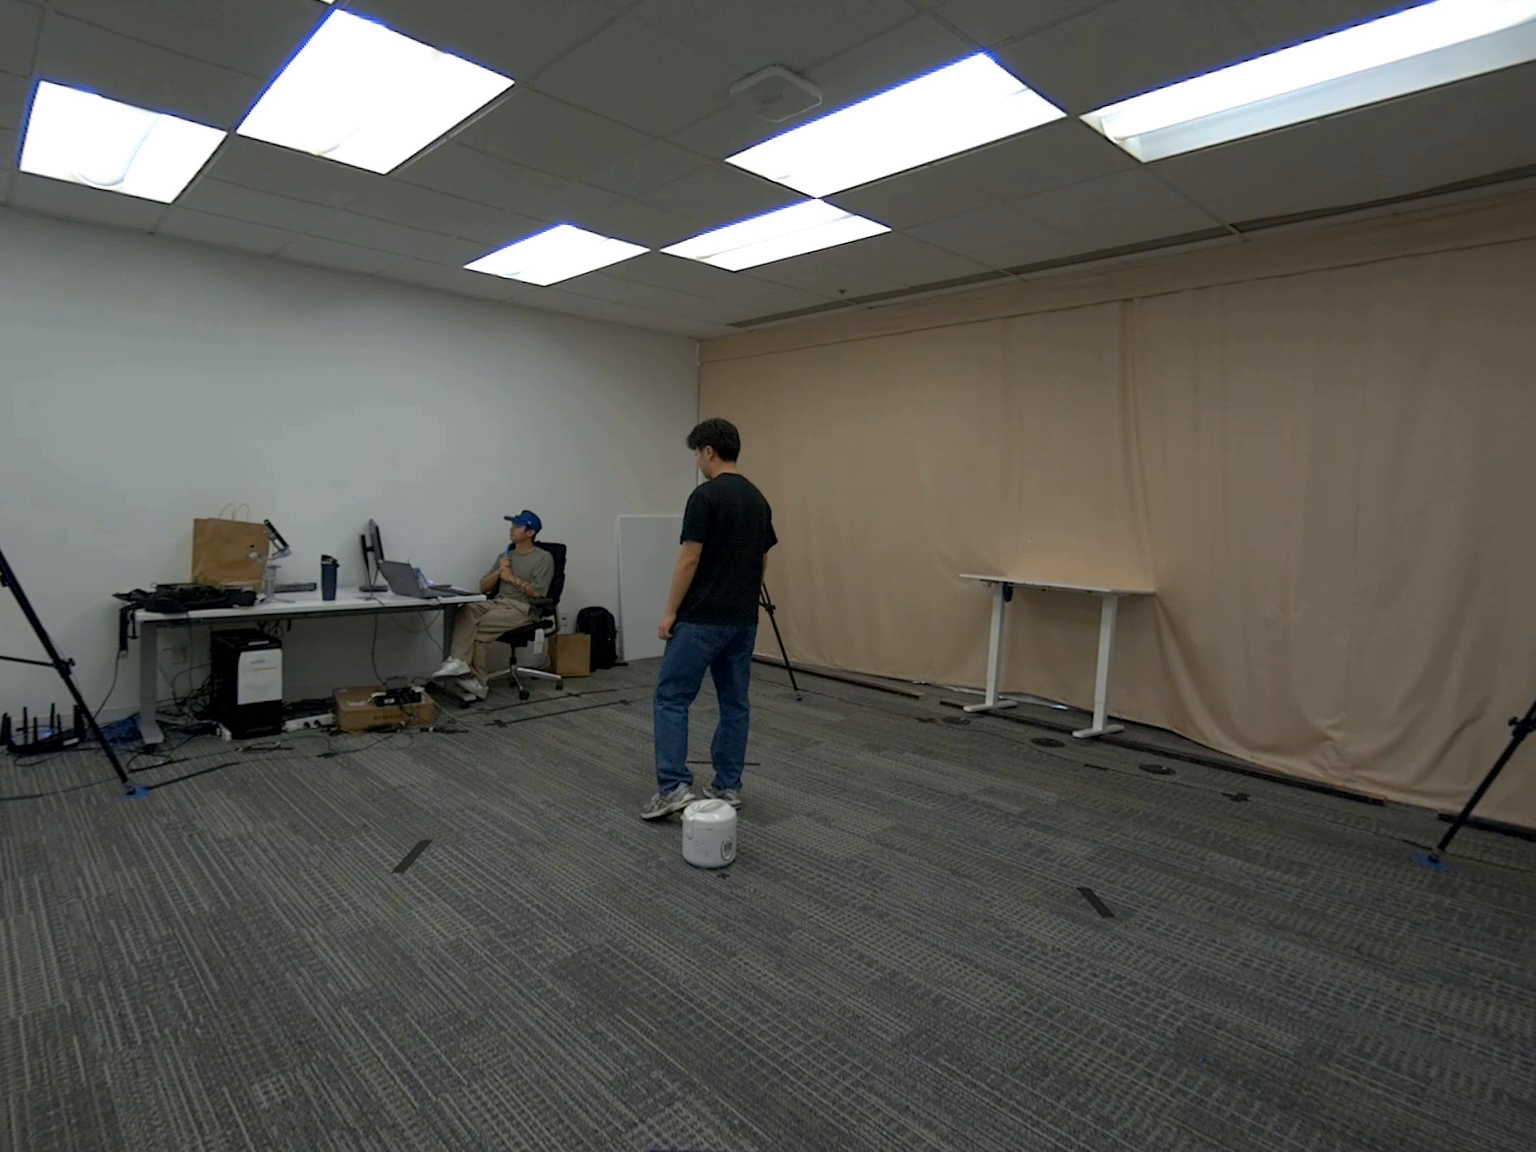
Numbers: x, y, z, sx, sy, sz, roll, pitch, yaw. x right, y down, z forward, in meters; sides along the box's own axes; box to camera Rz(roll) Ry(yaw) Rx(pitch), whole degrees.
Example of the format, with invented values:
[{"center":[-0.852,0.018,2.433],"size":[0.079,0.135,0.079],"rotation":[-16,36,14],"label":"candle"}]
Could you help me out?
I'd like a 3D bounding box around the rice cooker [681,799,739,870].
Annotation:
[{"center":[-0.231,0.980,3.232],"size":[0.215,0.232,0.223],"rotation":[-2,5,-42],"label":"rice cooker"}]
